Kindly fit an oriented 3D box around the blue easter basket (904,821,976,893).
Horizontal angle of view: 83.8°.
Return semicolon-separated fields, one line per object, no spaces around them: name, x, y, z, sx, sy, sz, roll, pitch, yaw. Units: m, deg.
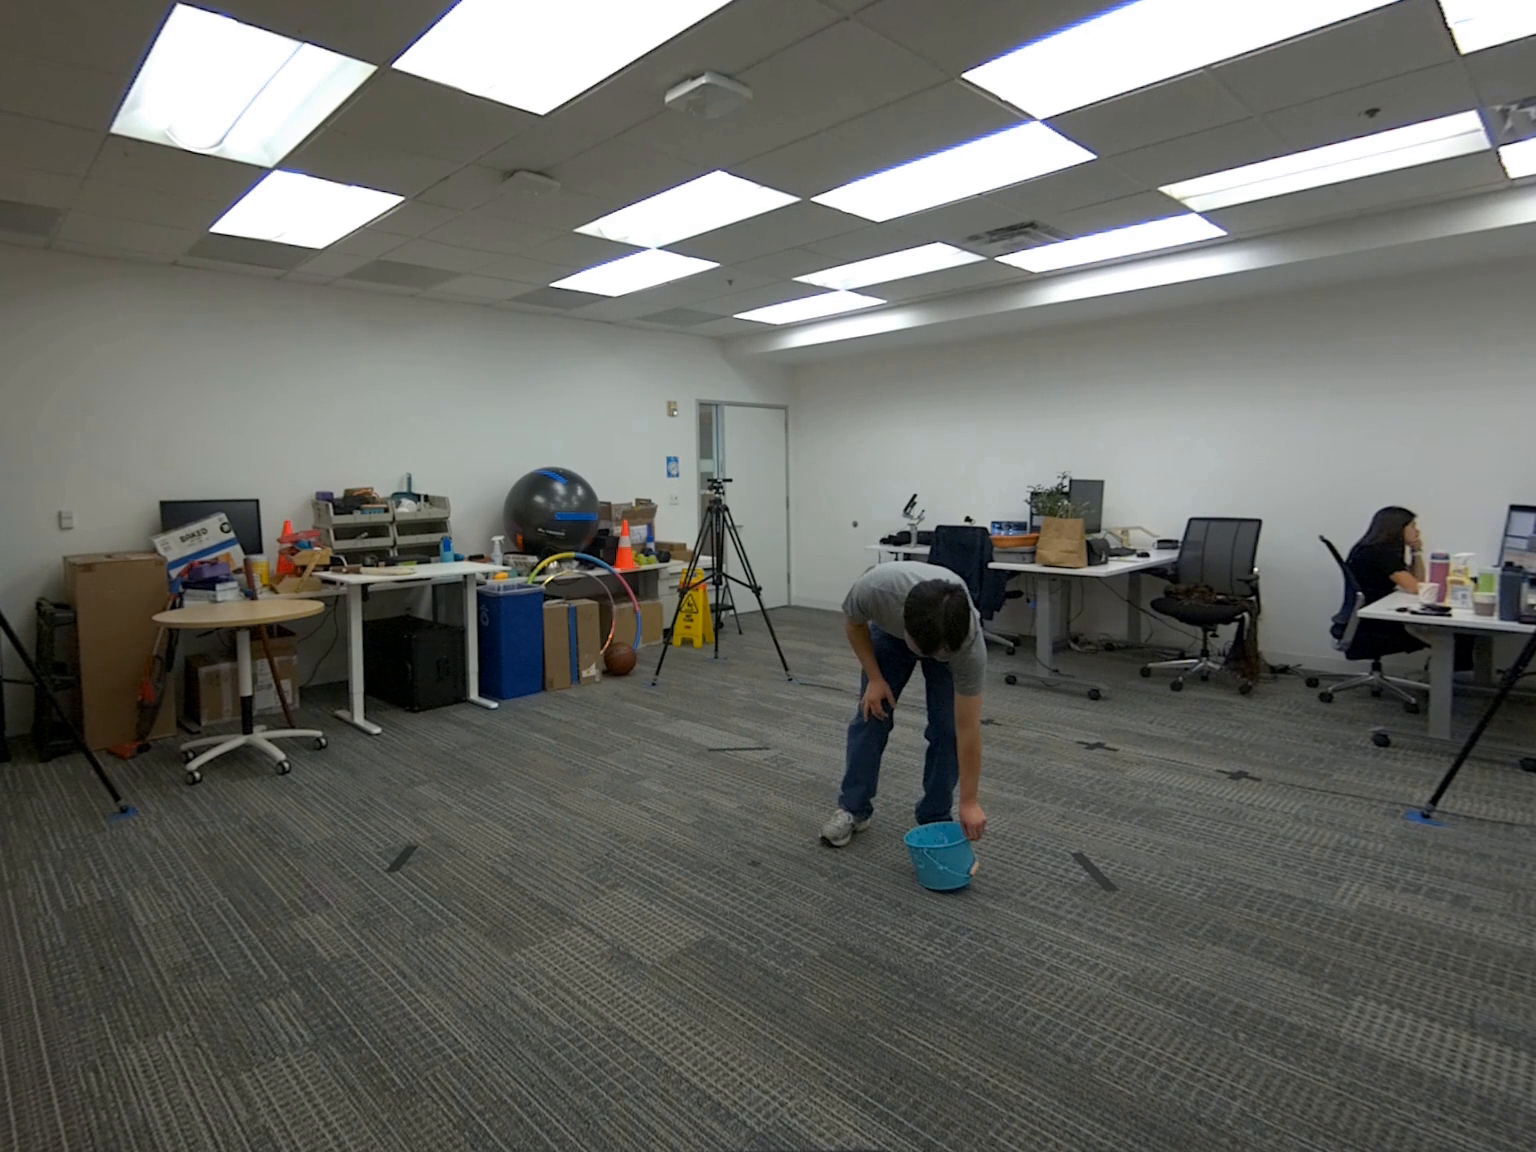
blue easter basket;0.593;0.959;2.932;0.243;0.156;0.244;-11;1;-2
